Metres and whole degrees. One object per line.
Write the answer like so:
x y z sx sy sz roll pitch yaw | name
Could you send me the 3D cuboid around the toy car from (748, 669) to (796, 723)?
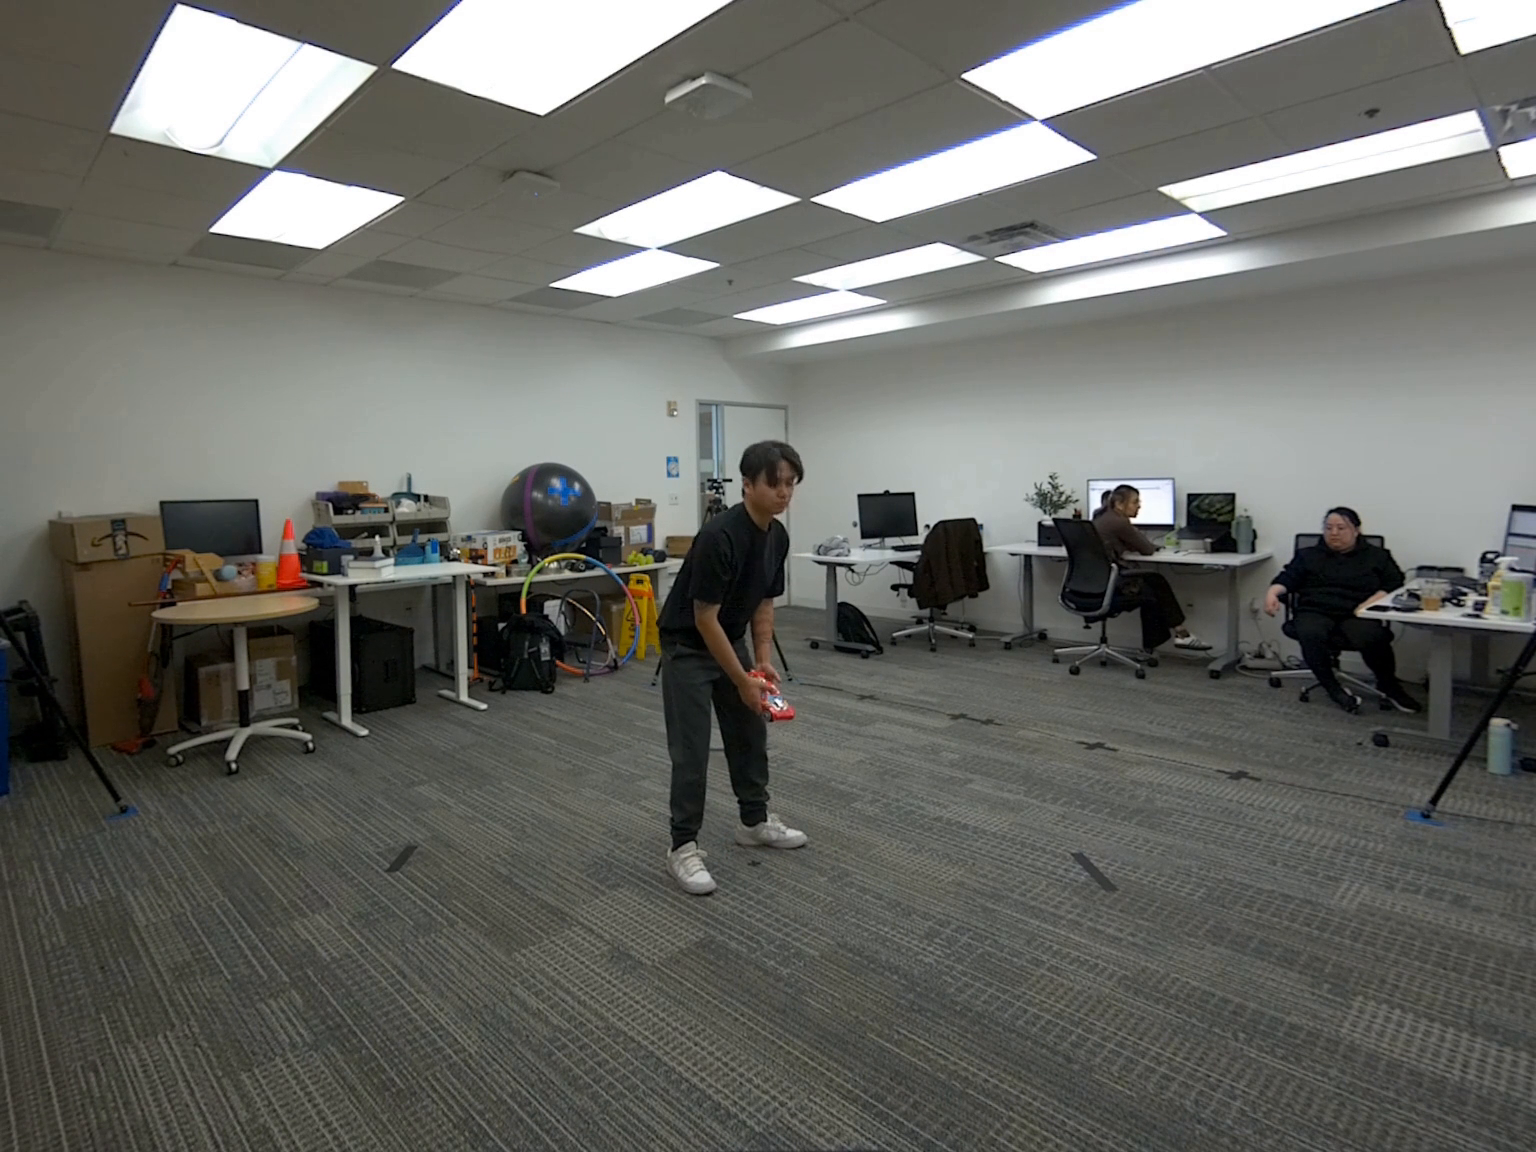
-0.008 0.430 2.994 0.126 0.082 0.265 5 34 -37 | toy car
